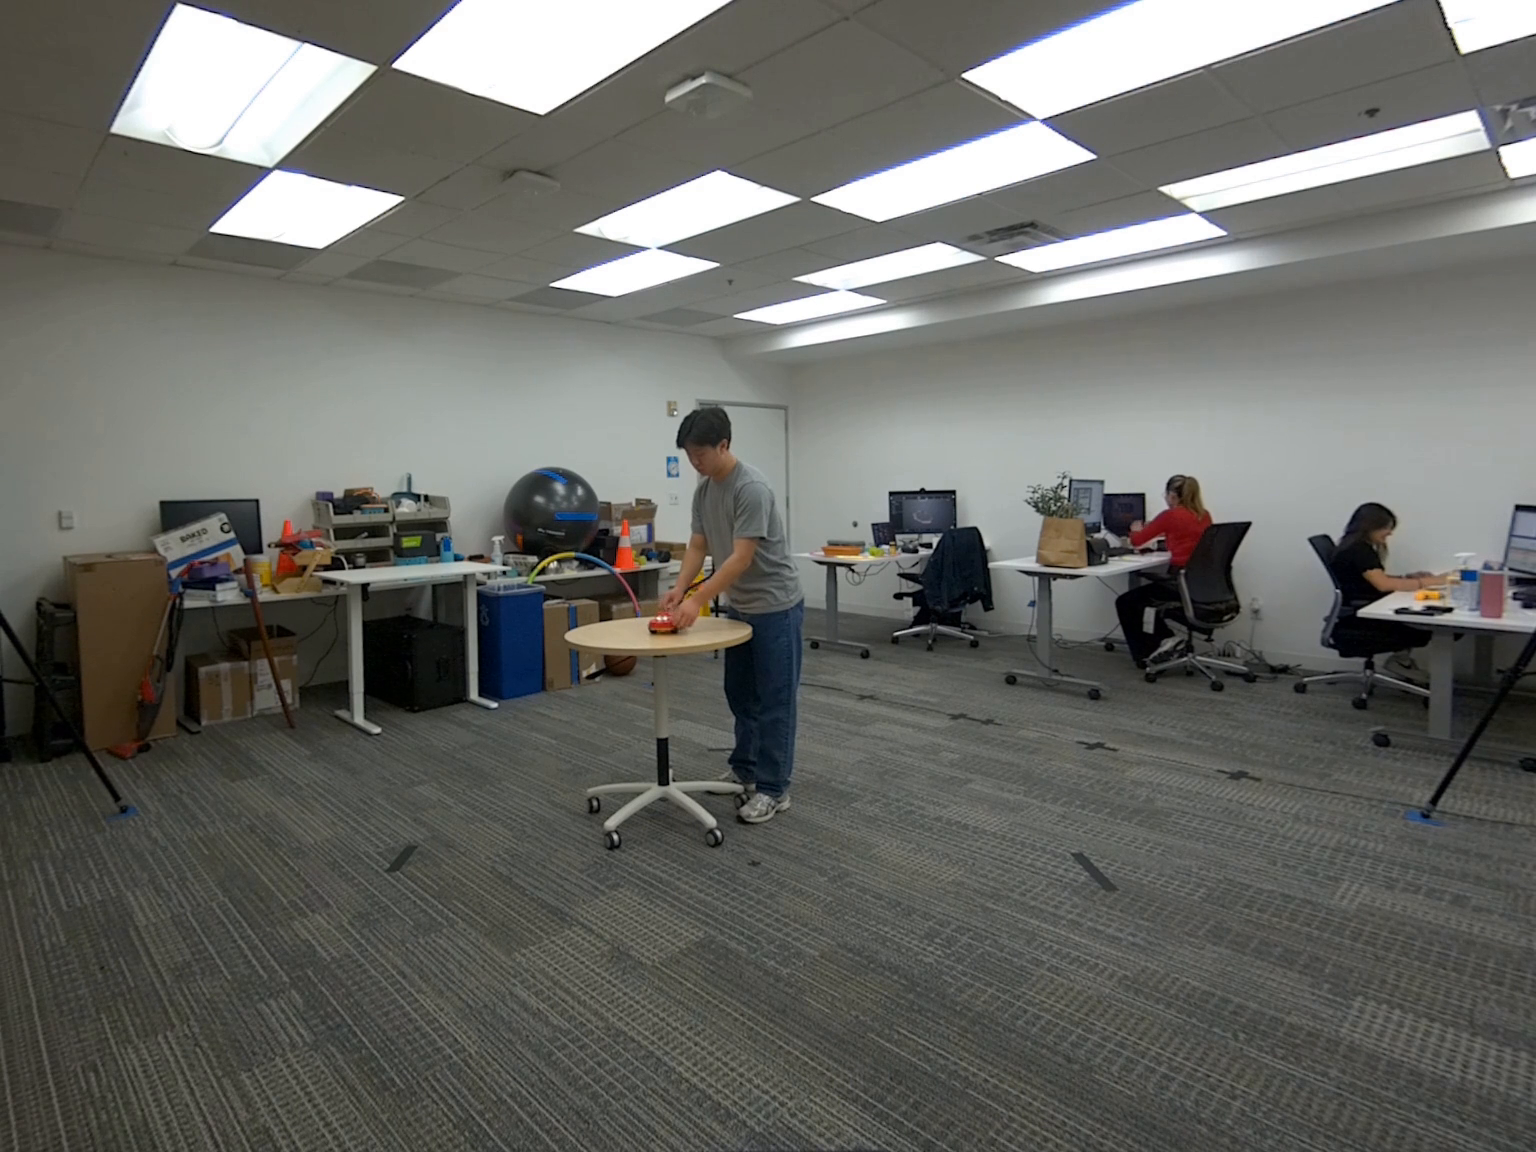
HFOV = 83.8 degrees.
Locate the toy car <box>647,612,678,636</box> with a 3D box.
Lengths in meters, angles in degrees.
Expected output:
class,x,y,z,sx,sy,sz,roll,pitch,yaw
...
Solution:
class,x,y,z,sx,sy,sz,roll,pitch,yaw
toy car,-0.421,0.195,3.496,0.131,0.084,0.251,0,-5,7
